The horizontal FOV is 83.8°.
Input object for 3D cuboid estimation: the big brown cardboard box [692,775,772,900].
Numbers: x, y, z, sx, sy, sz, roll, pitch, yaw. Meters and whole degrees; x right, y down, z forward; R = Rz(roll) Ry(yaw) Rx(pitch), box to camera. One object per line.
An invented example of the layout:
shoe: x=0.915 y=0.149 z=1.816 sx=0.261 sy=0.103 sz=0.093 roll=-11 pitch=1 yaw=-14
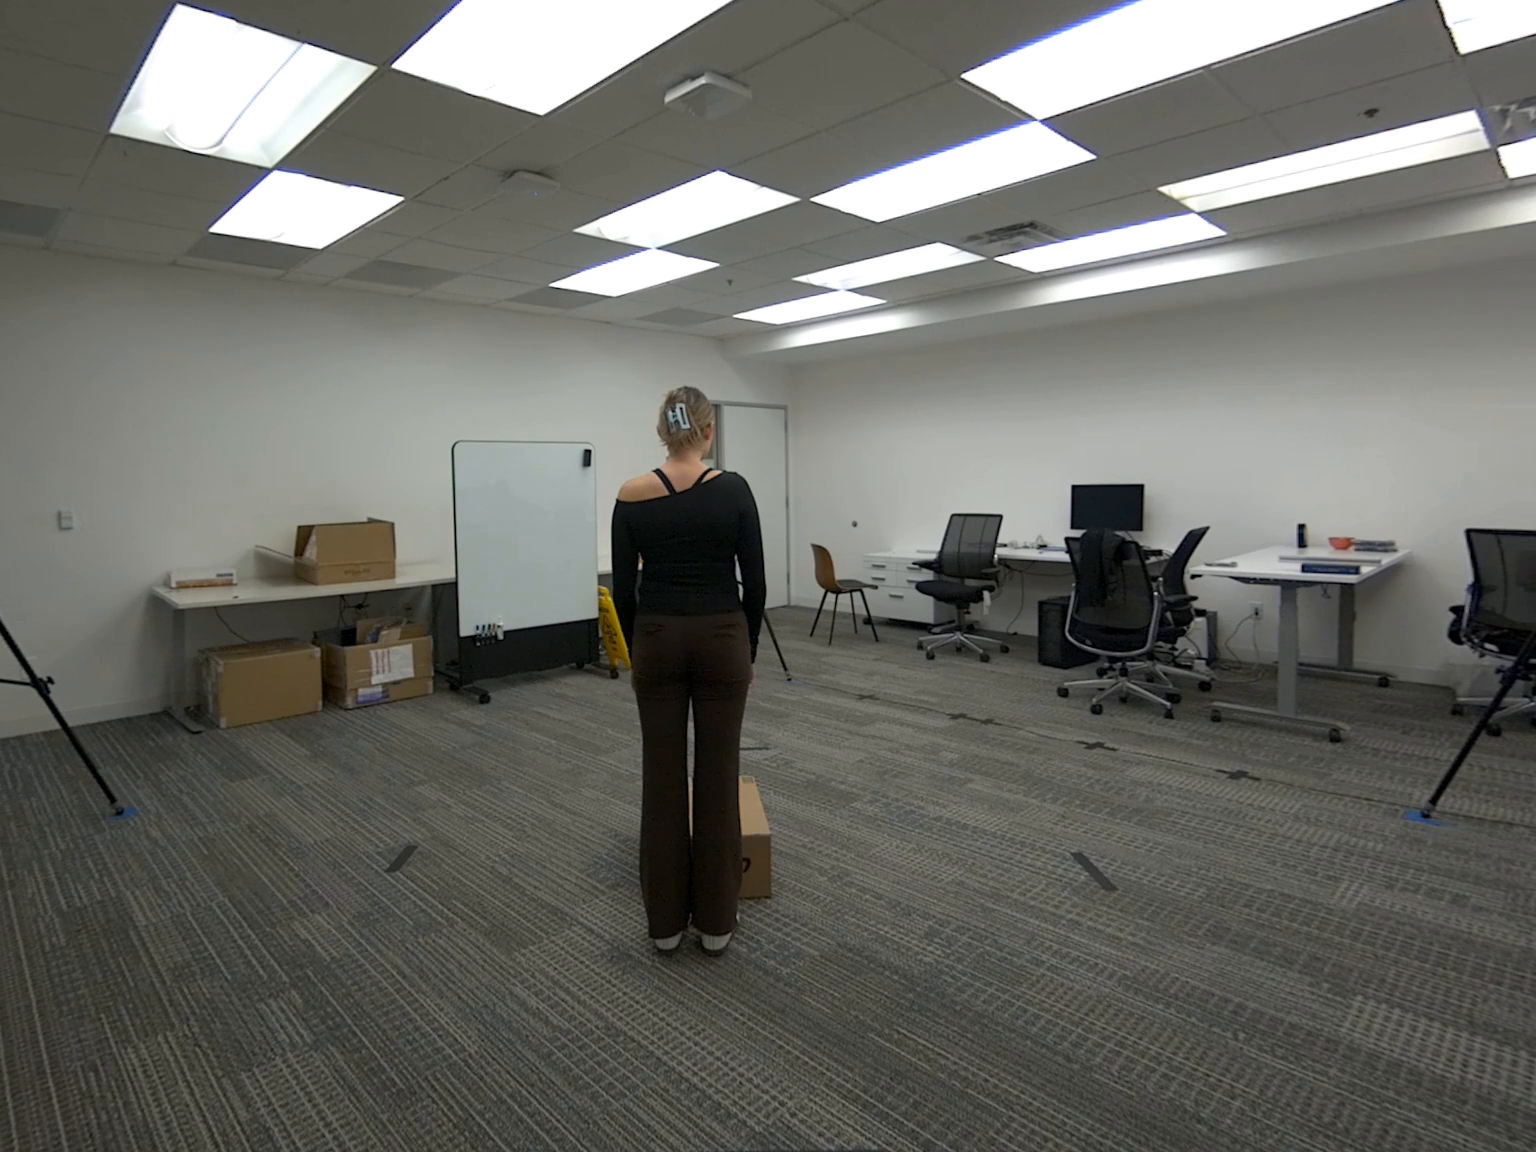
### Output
big brown cardboard box: x=-0.223 y=0.934 z=3.111 sx=0.415 sy=0.232 sz=0.595 roll=-2 pitch=7 yaw=-6
